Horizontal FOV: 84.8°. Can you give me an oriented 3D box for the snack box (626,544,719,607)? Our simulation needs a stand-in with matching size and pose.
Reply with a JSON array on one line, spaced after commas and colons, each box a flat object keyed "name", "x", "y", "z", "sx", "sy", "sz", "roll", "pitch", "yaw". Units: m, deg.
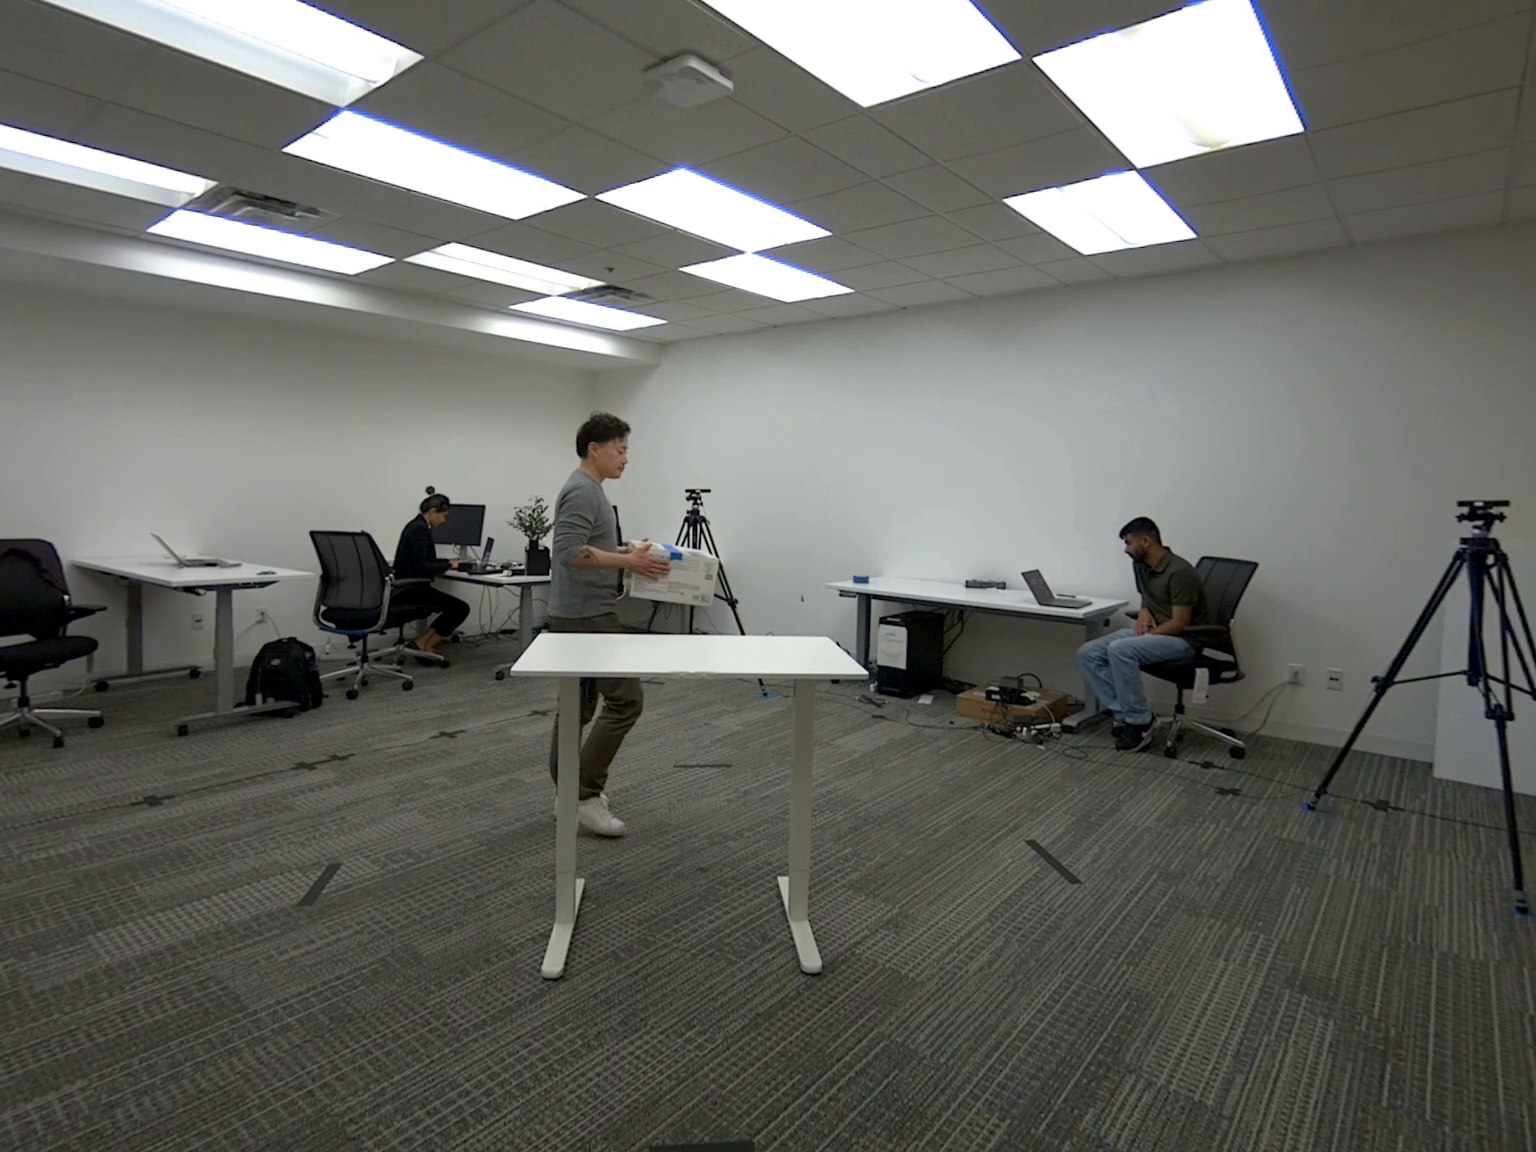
[{"name": "snack box", "x": -0.423, "y": -0.014, "z": 3.600, "sx": 0.336, "sy": 0.205, "sz": 0.411, "roll": 7, "pitch": 4, "yaw": -11}]
